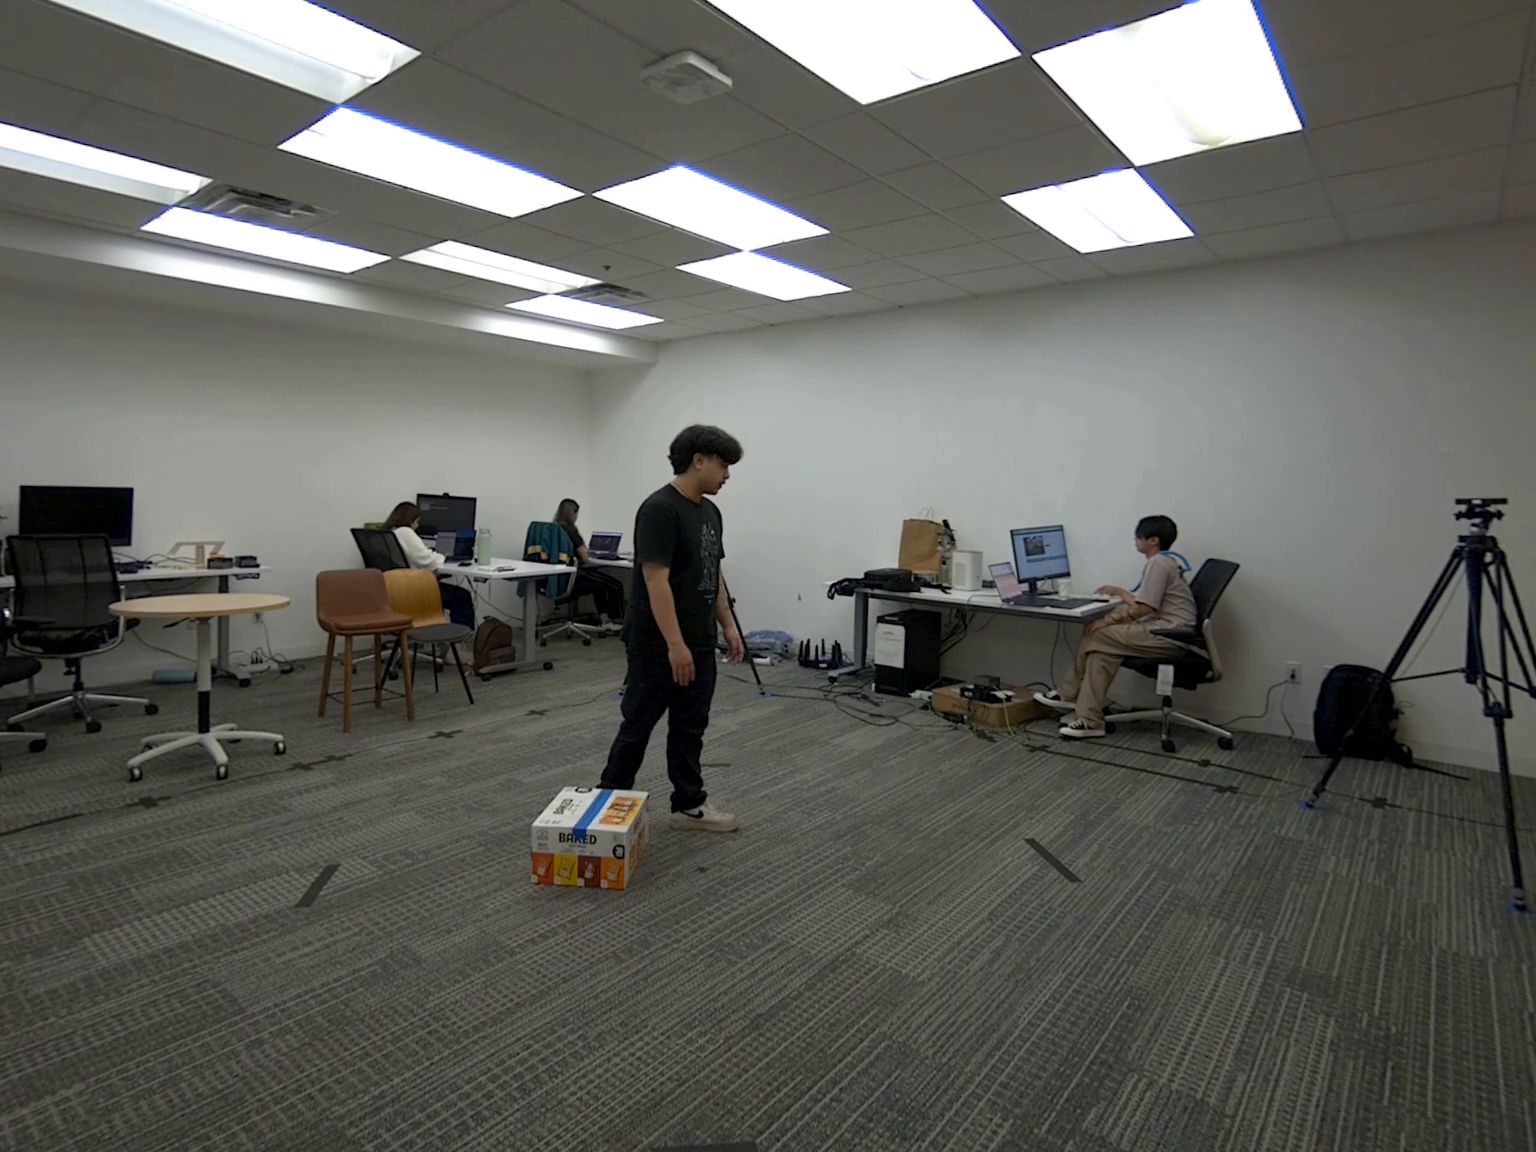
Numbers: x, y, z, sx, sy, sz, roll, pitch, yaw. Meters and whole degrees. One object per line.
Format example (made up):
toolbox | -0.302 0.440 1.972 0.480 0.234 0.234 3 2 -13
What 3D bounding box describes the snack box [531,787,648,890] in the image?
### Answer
snack box | -0.660 0.956 3.143 0.342 0.205 0.404 2 5 5
